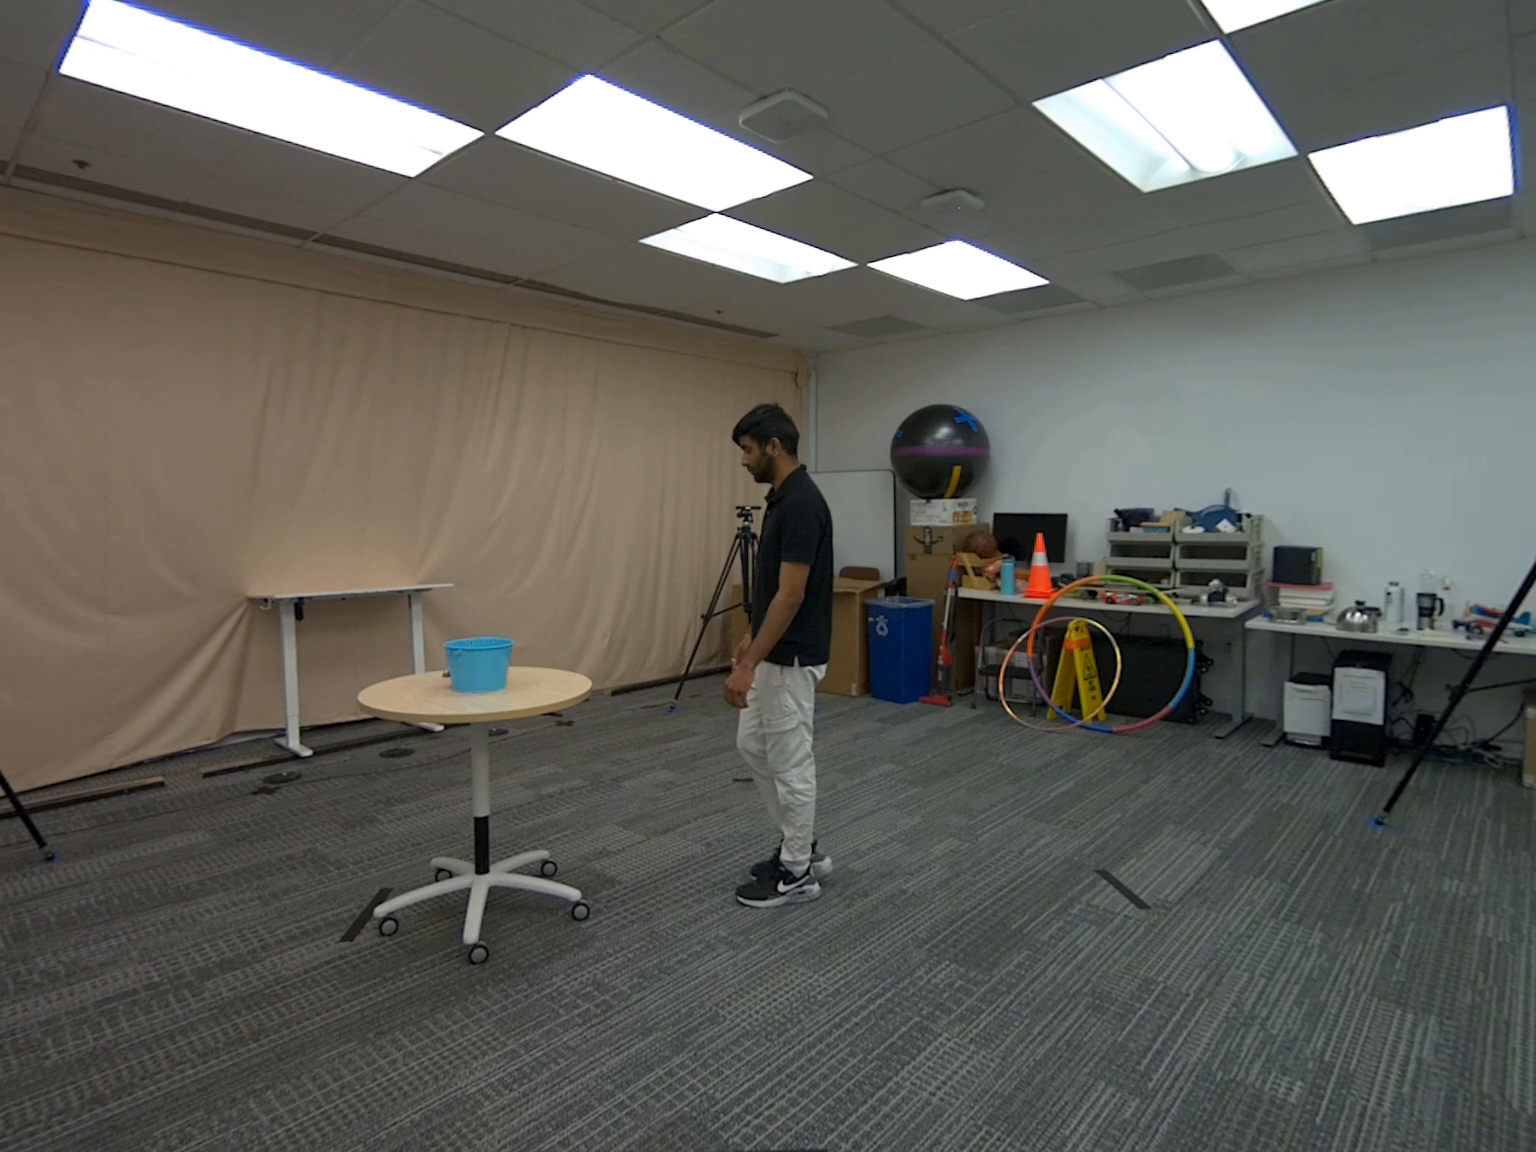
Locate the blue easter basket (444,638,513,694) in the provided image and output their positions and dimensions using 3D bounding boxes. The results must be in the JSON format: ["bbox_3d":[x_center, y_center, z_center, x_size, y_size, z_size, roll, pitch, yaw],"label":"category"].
[{"bbox_3d":[-0.990,0.306,2.878,0.243,0.155,0.244,1,5,-2],"label":"blue easter basket"}]
